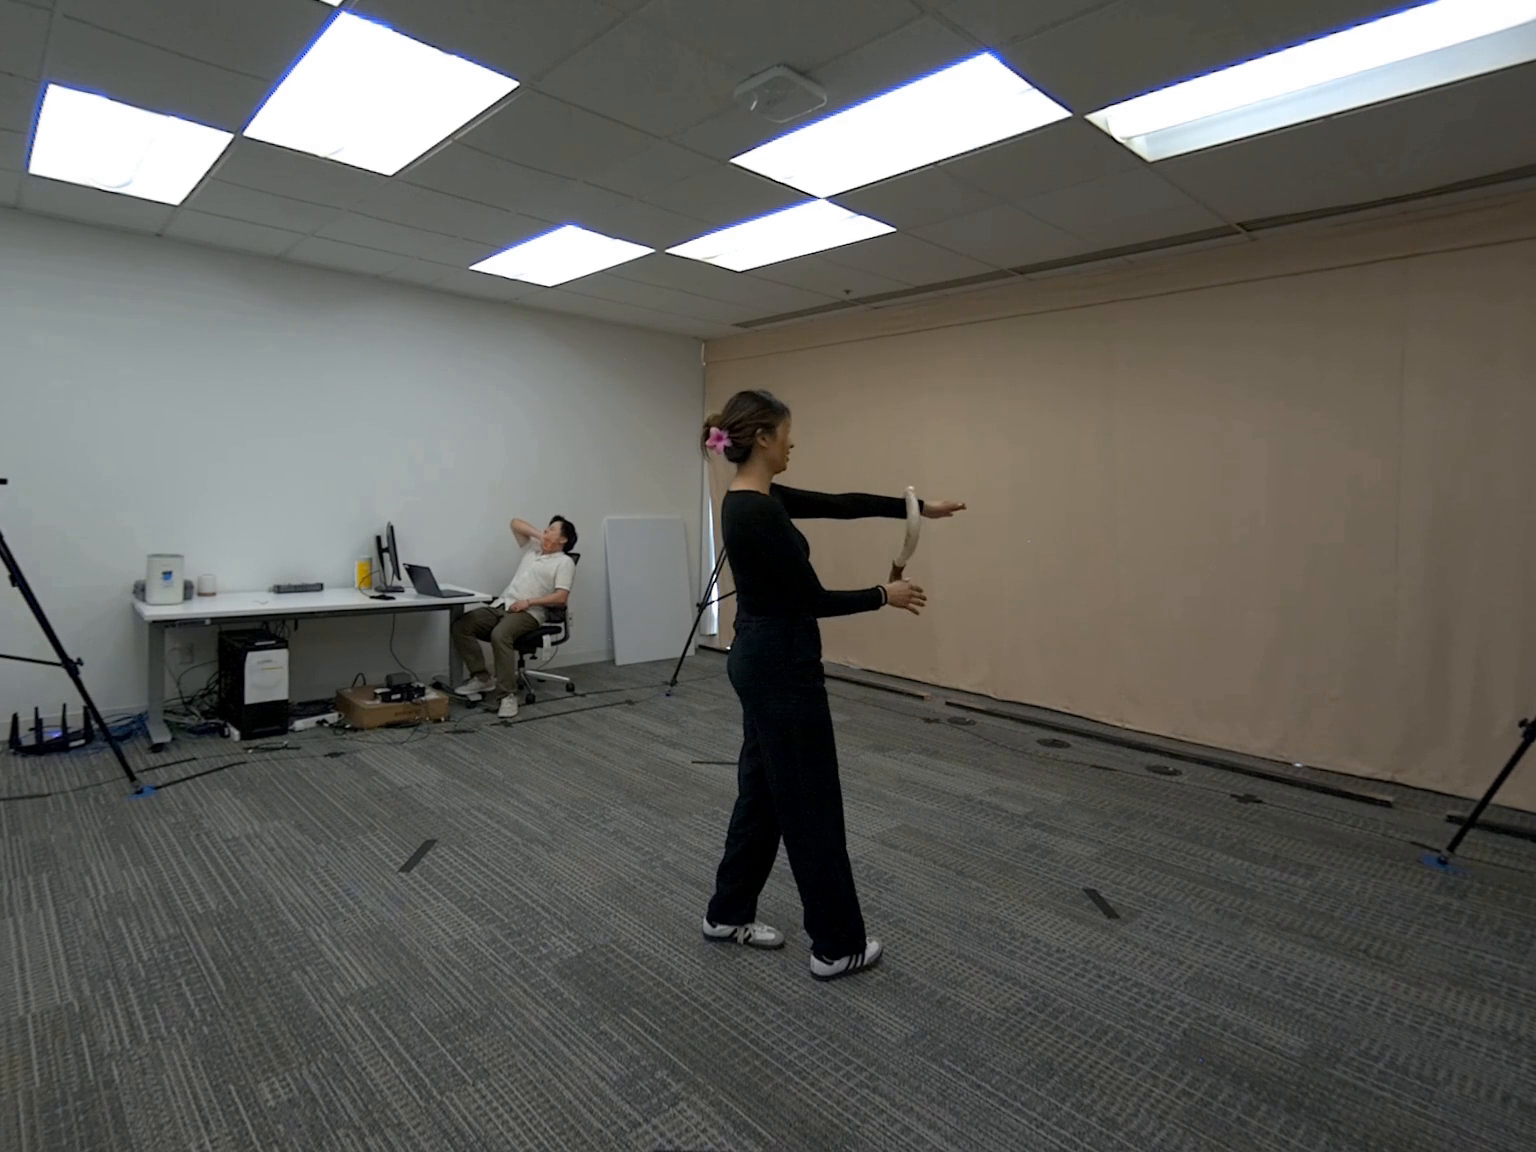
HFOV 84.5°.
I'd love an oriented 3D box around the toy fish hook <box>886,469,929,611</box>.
[{"bbox_3d":[0.458,-0.108,2.807,0.048,0.228,0.497,6,-31,1],"label":"toy fish hook"}]
